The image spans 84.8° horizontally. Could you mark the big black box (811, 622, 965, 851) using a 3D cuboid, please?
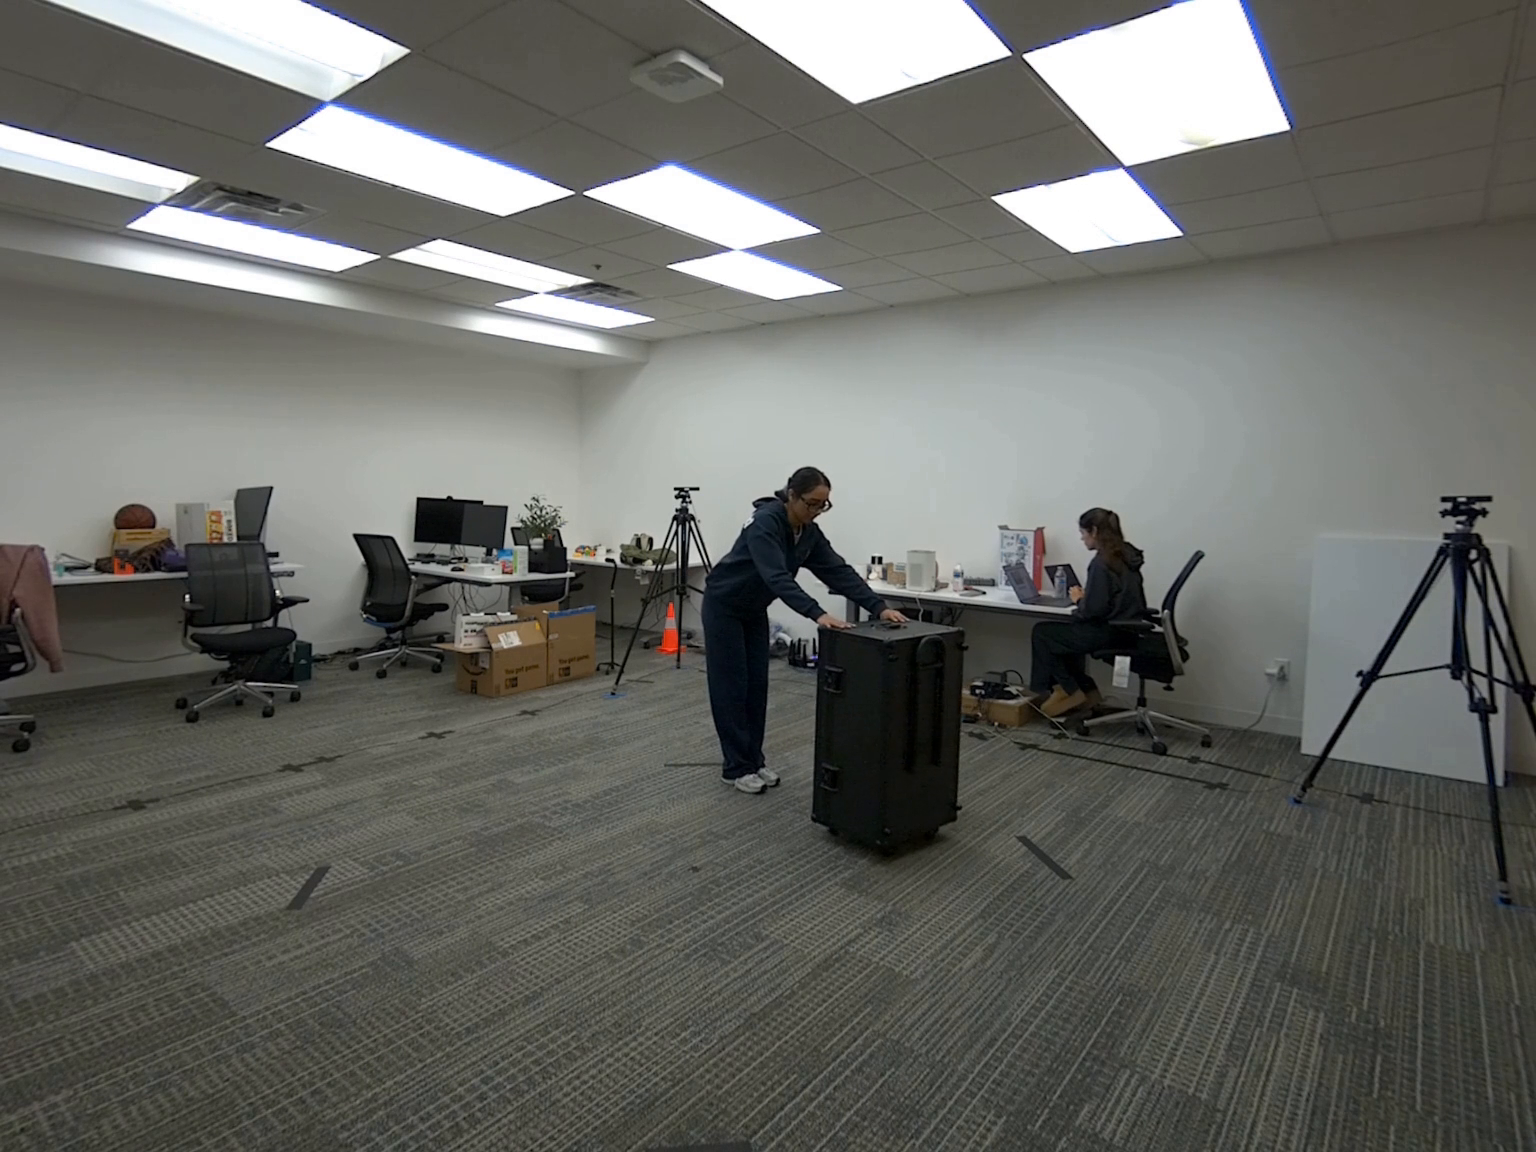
[{"bbox_3d":[0.480,0.627,3.401,0.505,0.858,0.410,-2,6,-41],"label":"big black box"}]
